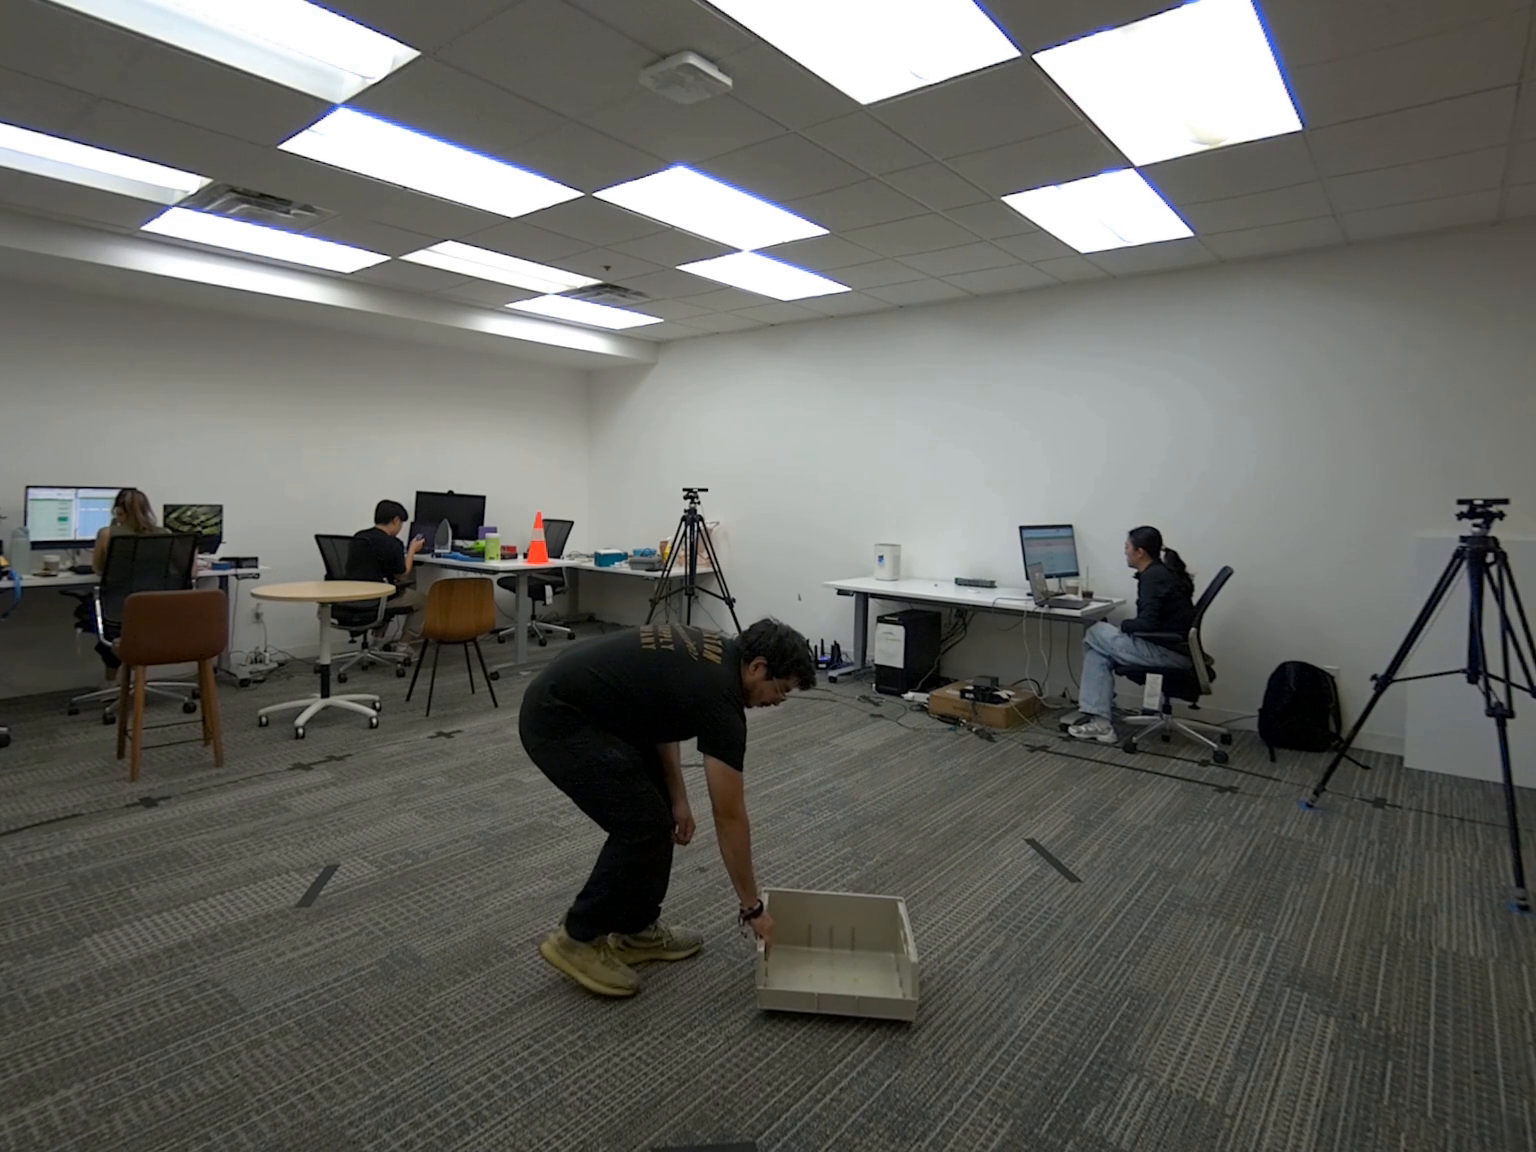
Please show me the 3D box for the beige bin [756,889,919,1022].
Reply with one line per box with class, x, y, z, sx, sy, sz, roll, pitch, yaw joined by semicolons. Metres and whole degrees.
beige bin;0.184;1.061;2.382;0.425;0.188;0.376;1;3;4
